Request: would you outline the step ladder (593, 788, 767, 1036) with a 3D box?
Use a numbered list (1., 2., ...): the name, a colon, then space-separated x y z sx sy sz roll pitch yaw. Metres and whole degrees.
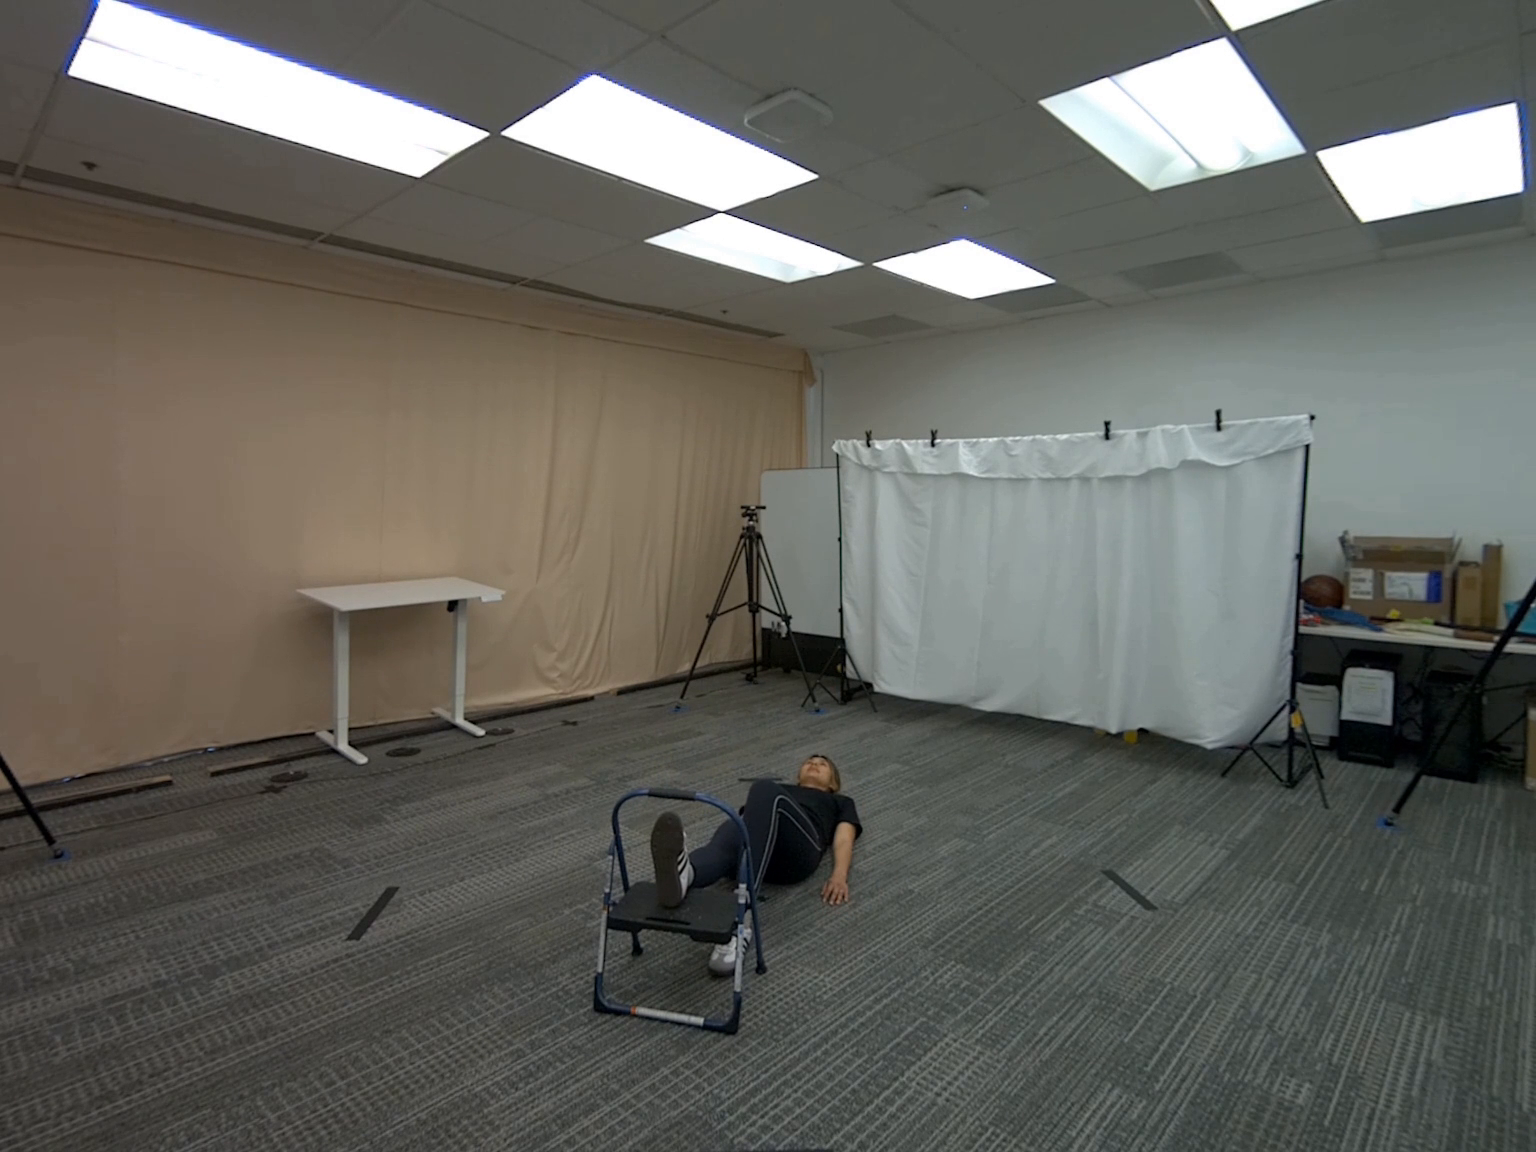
1. step ladder: -0.252 0.891 2.412 0.437 0.605 0.344 1 3 14
